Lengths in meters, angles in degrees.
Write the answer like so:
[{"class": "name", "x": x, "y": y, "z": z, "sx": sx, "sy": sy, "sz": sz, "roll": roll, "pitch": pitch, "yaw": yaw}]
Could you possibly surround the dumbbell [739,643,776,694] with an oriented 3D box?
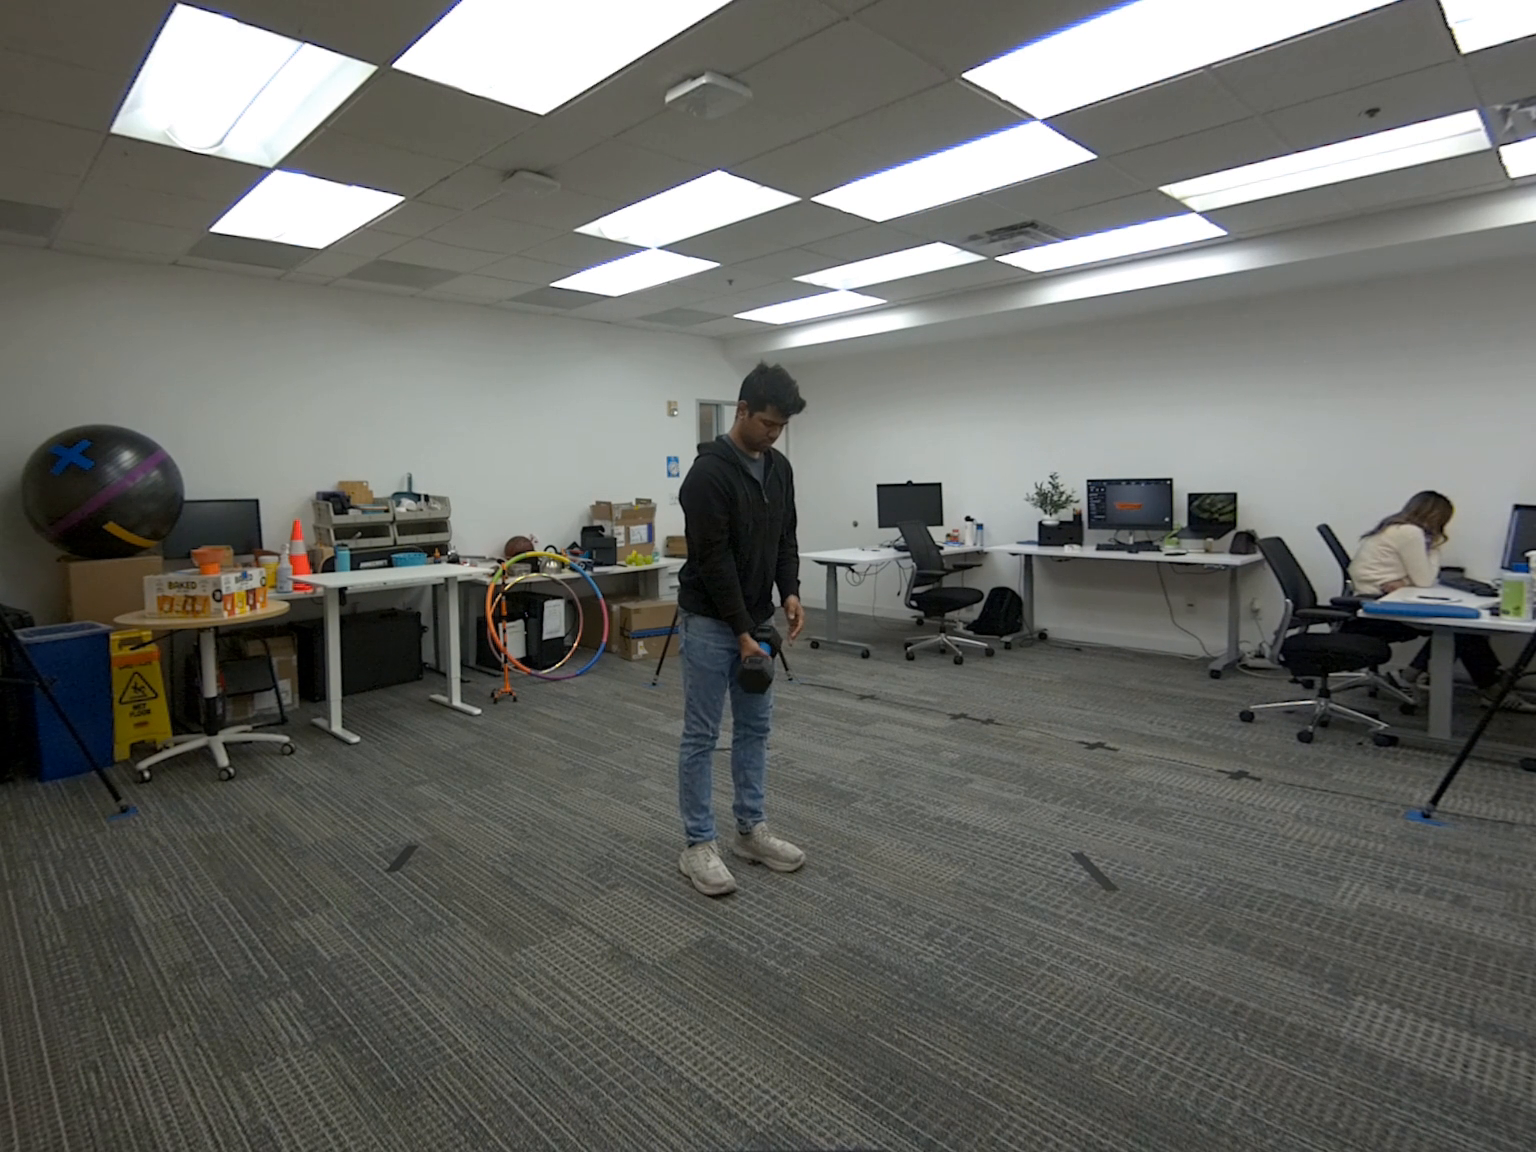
[{"class": "dumbbell", "x": -0.032, "y": 0.278, "z": 2.843, "sx": 0.109, "sy": 0.121, "sz": 0.297, "roll": -32, "pitch": 16, "yaw": 16}]
